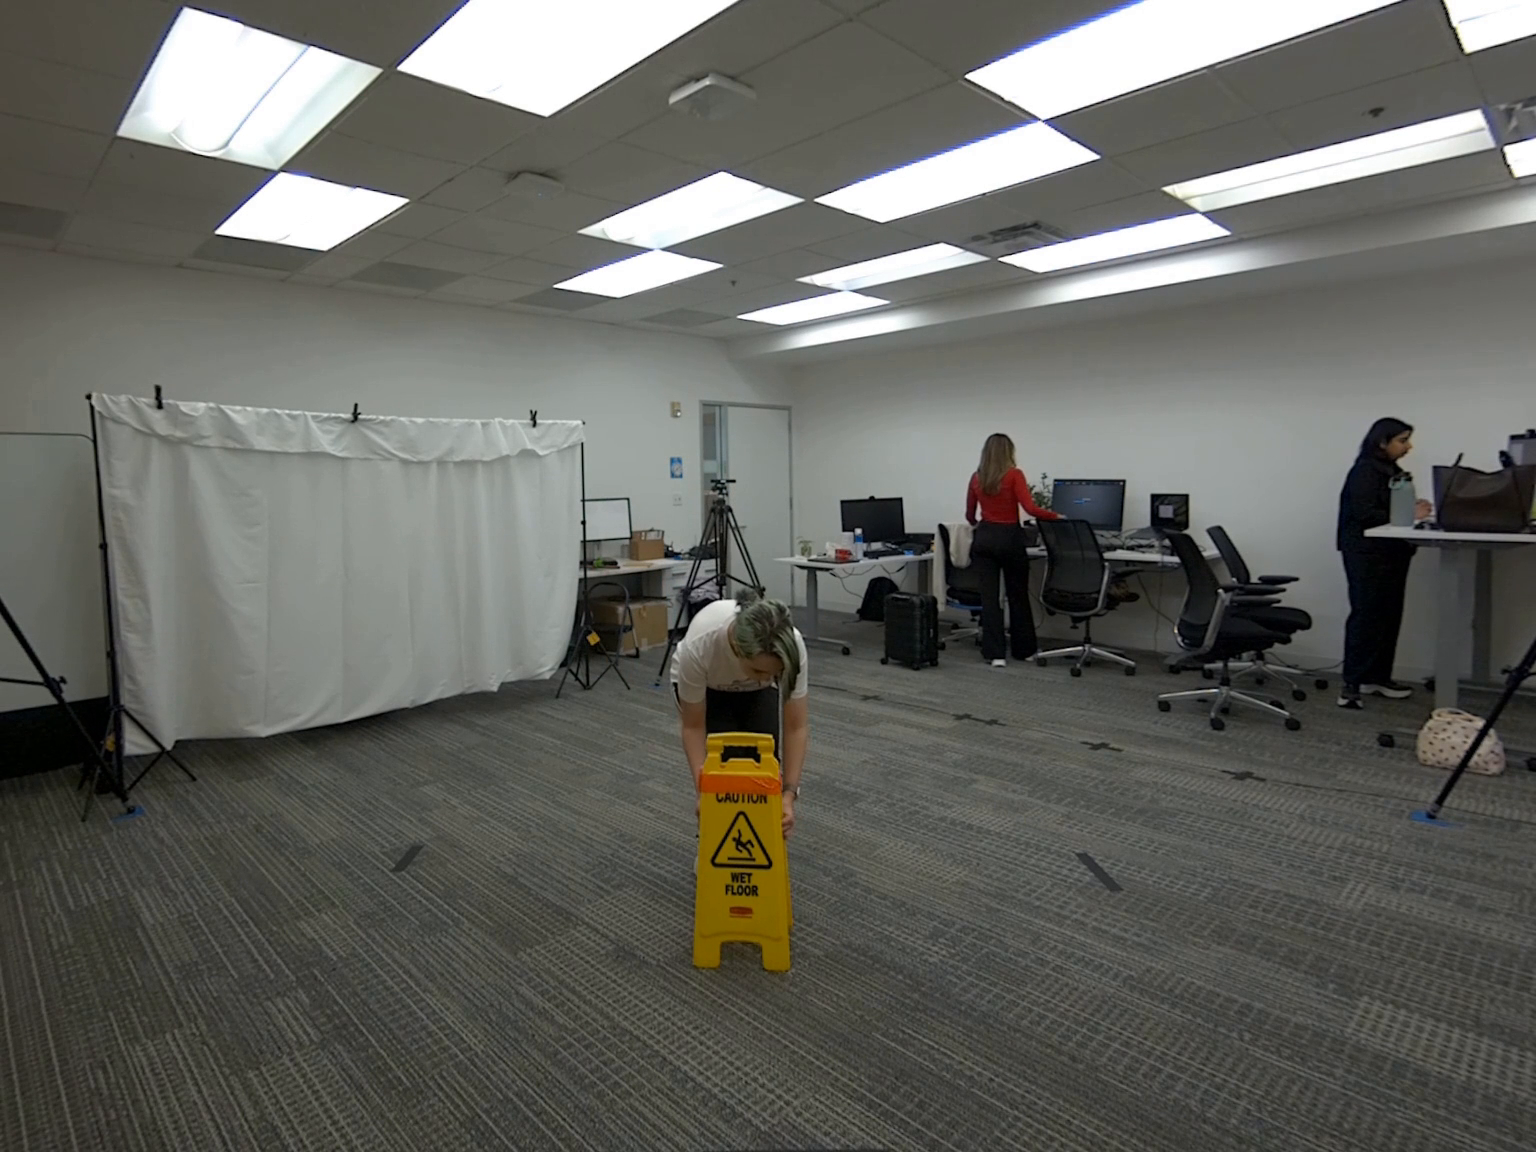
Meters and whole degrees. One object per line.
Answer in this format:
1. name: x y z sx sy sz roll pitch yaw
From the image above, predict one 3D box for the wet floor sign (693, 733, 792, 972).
1. wet floor sign: -0.080 0.791 2.532 0.284 0.643 0.290 -2 5 5
